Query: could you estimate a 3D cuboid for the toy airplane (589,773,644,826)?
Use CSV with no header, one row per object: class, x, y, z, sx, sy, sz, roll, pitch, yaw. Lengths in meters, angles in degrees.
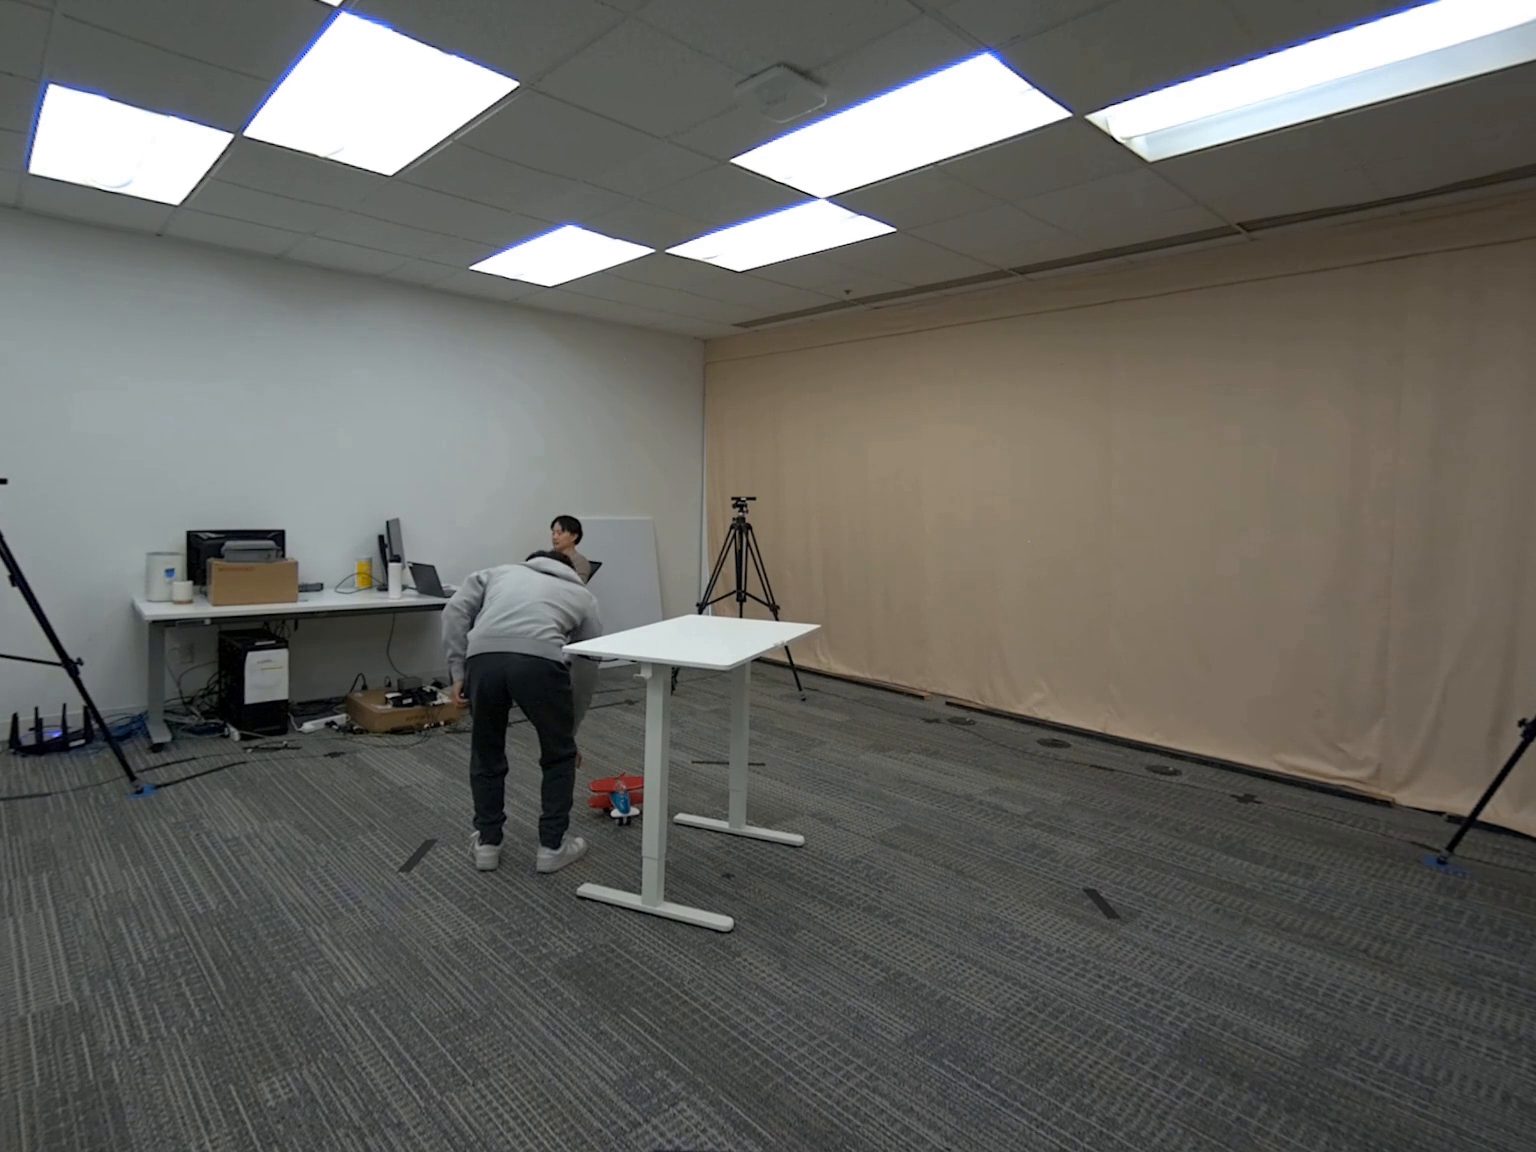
toy airplane,-0.633,0.971,3.665,0.265,0.156,0.245,4,6,41
